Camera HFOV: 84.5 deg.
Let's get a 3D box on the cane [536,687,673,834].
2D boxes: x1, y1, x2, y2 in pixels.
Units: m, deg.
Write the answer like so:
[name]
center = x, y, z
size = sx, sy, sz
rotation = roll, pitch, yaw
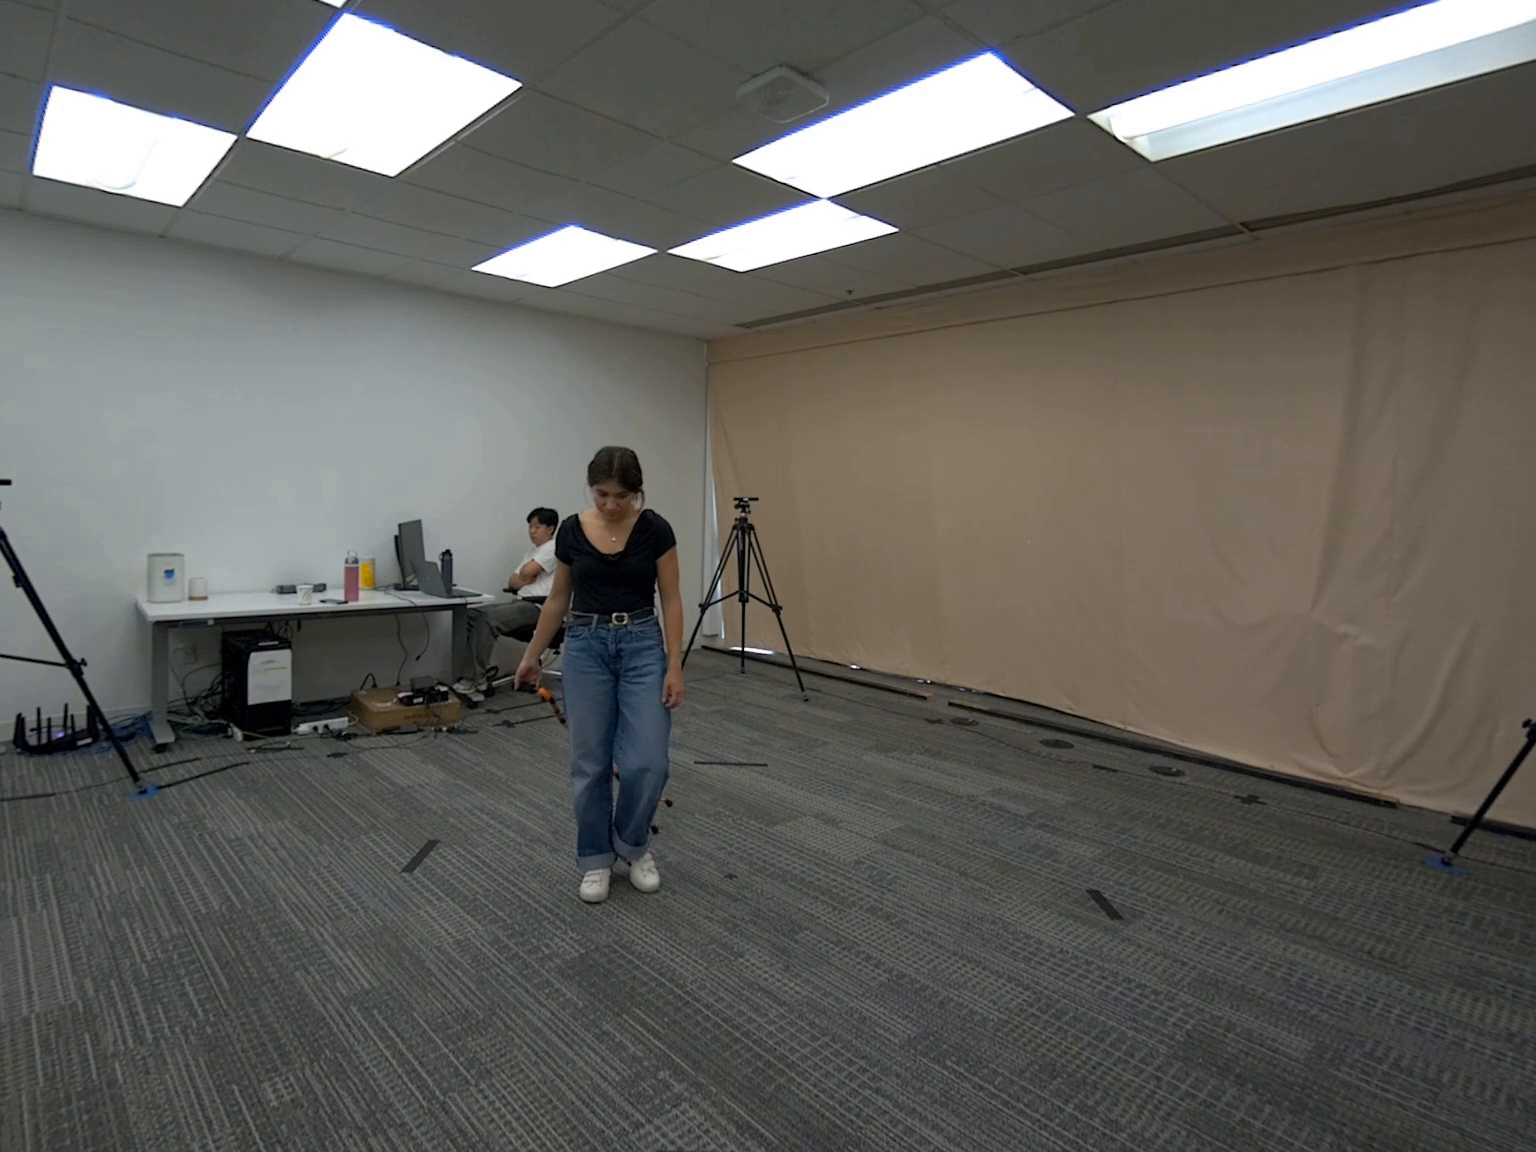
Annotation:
[cane]
center = -0.695, 0.715, 3.301
size = 0.211, 0.152, 0.881
rotation = 3, -41, 36
